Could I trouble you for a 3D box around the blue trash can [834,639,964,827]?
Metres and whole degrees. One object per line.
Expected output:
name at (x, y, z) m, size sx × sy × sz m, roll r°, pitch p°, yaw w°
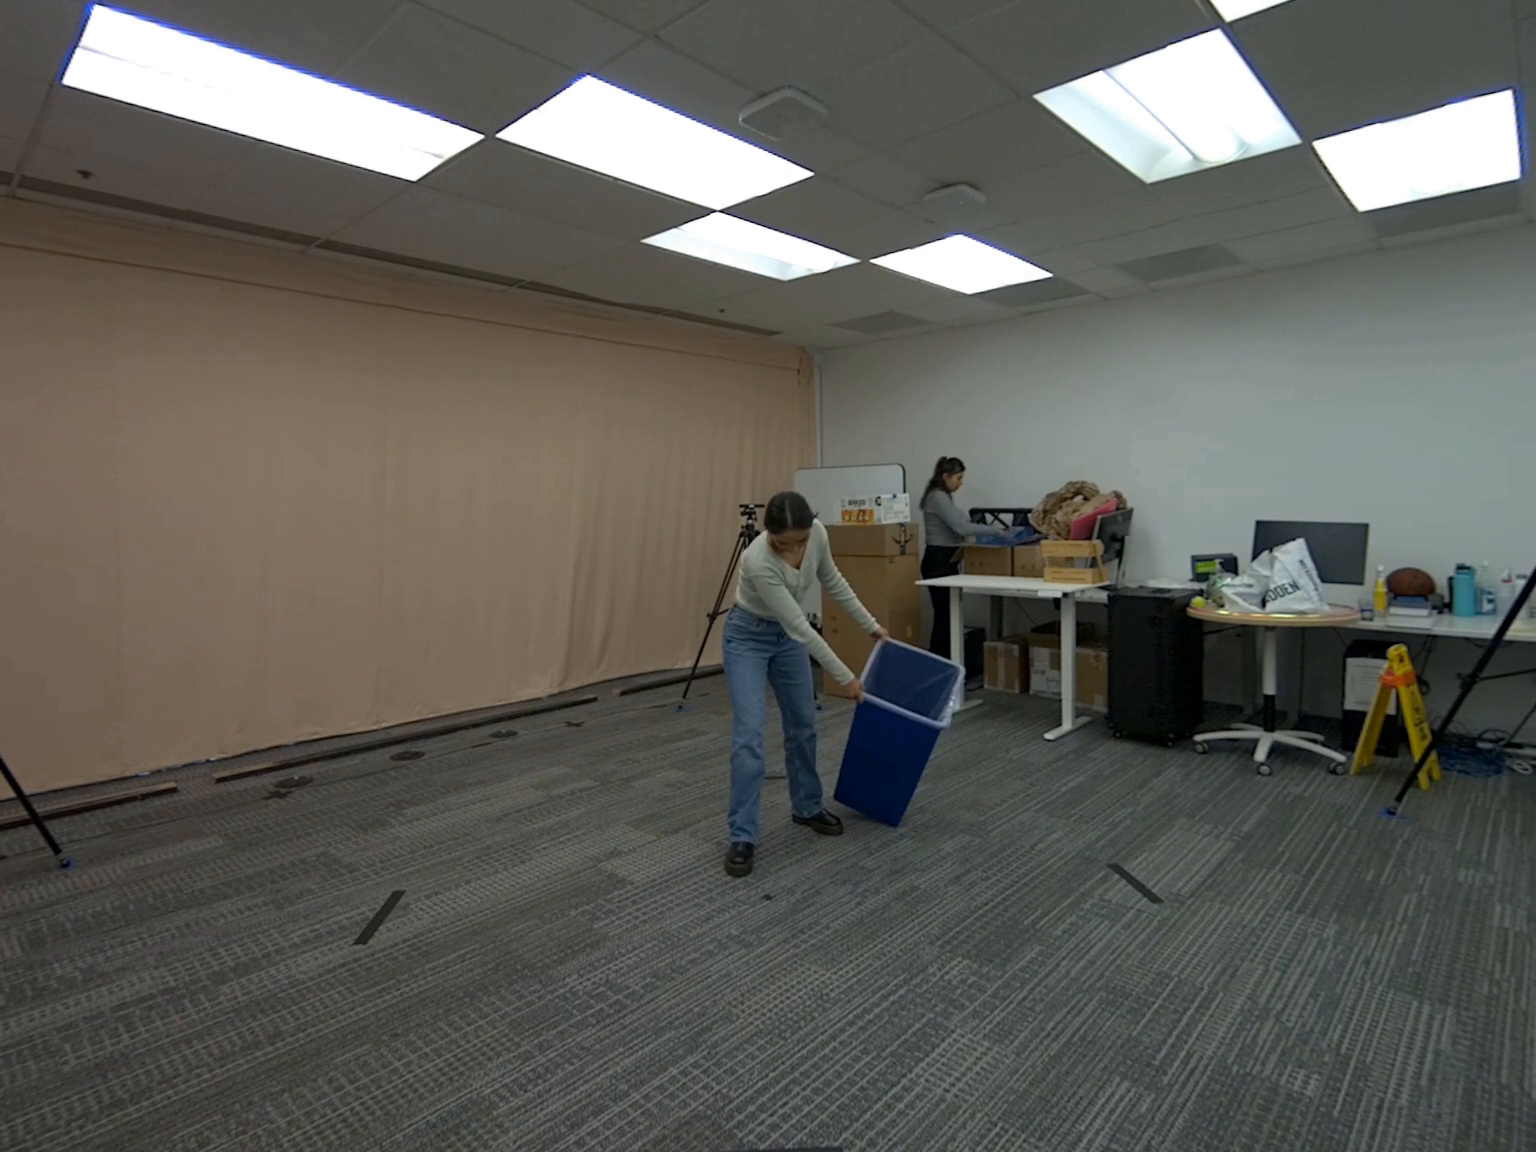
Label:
blue trash can at (0.514, 0.683, 3.545) m, size 0.381 × 0.704 × 0.376 m, roll 20°, pitch 39°, yaw 14°
